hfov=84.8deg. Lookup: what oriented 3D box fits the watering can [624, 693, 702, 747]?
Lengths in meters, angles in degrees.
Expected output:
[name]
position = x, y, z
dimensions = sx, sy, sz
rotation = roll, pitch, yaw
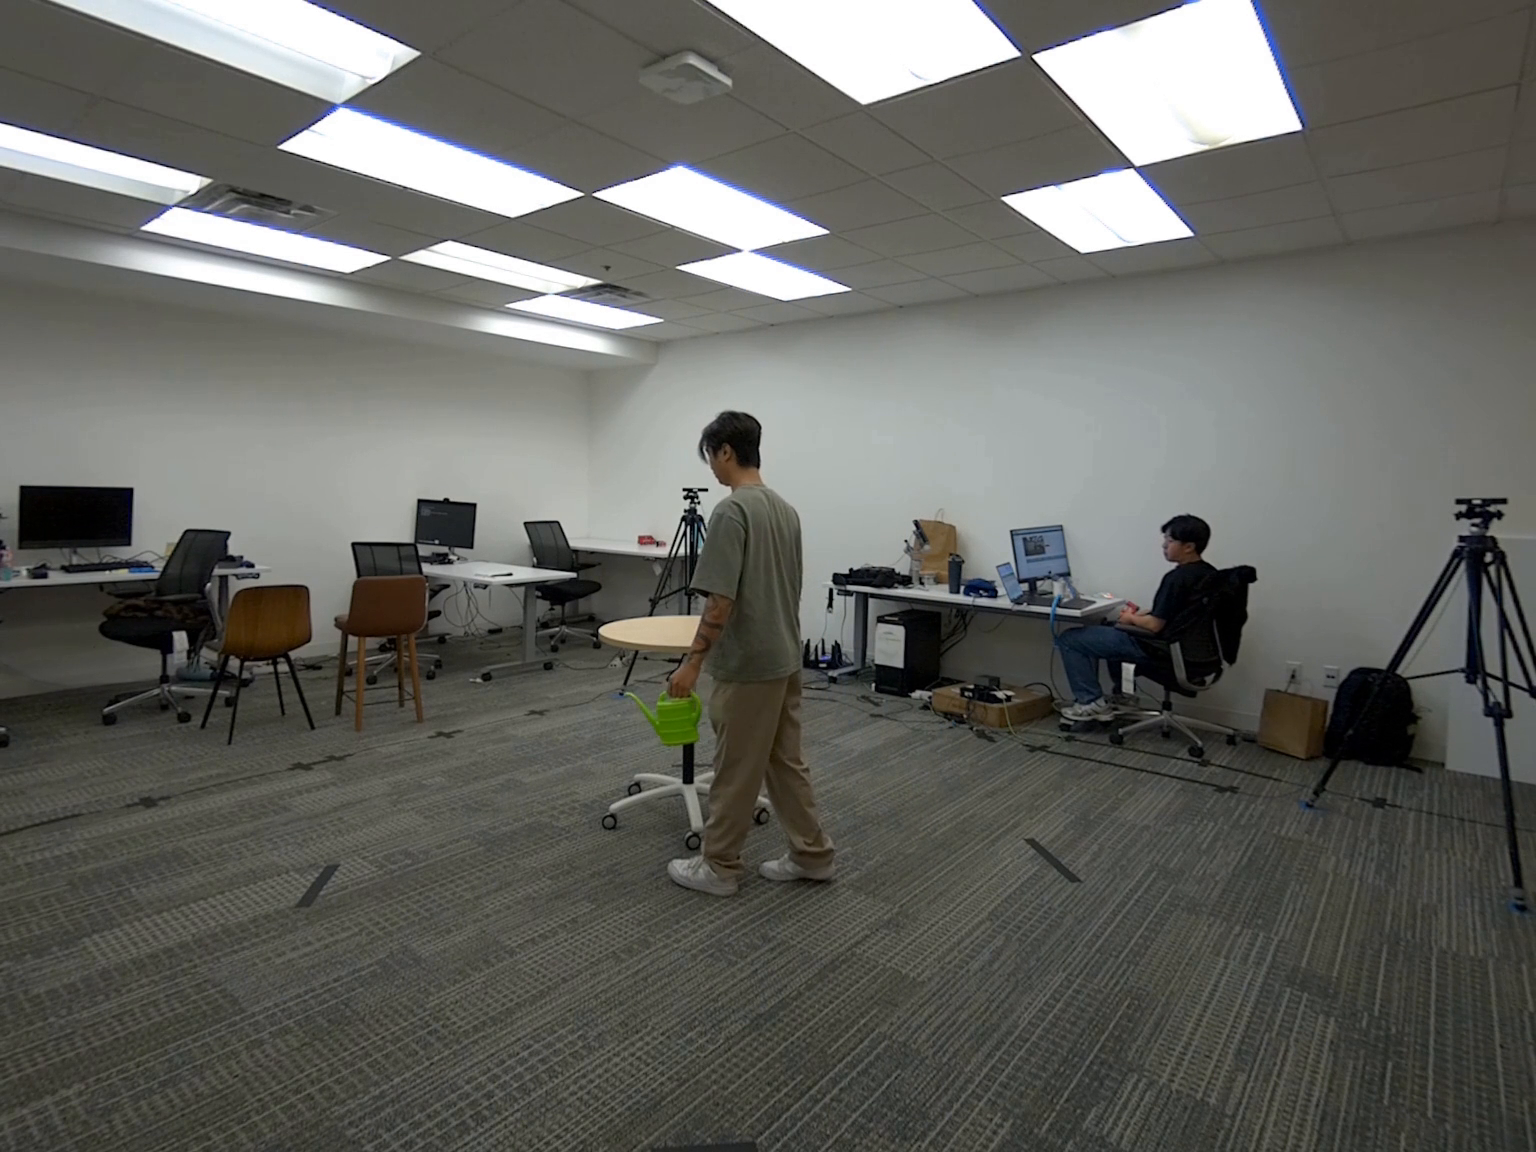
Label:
[watering can]
position = -0.340, 0.450, 2.801
dimensions = 0.286, 0.177, 0.095
rotation = -6, -2, 37
